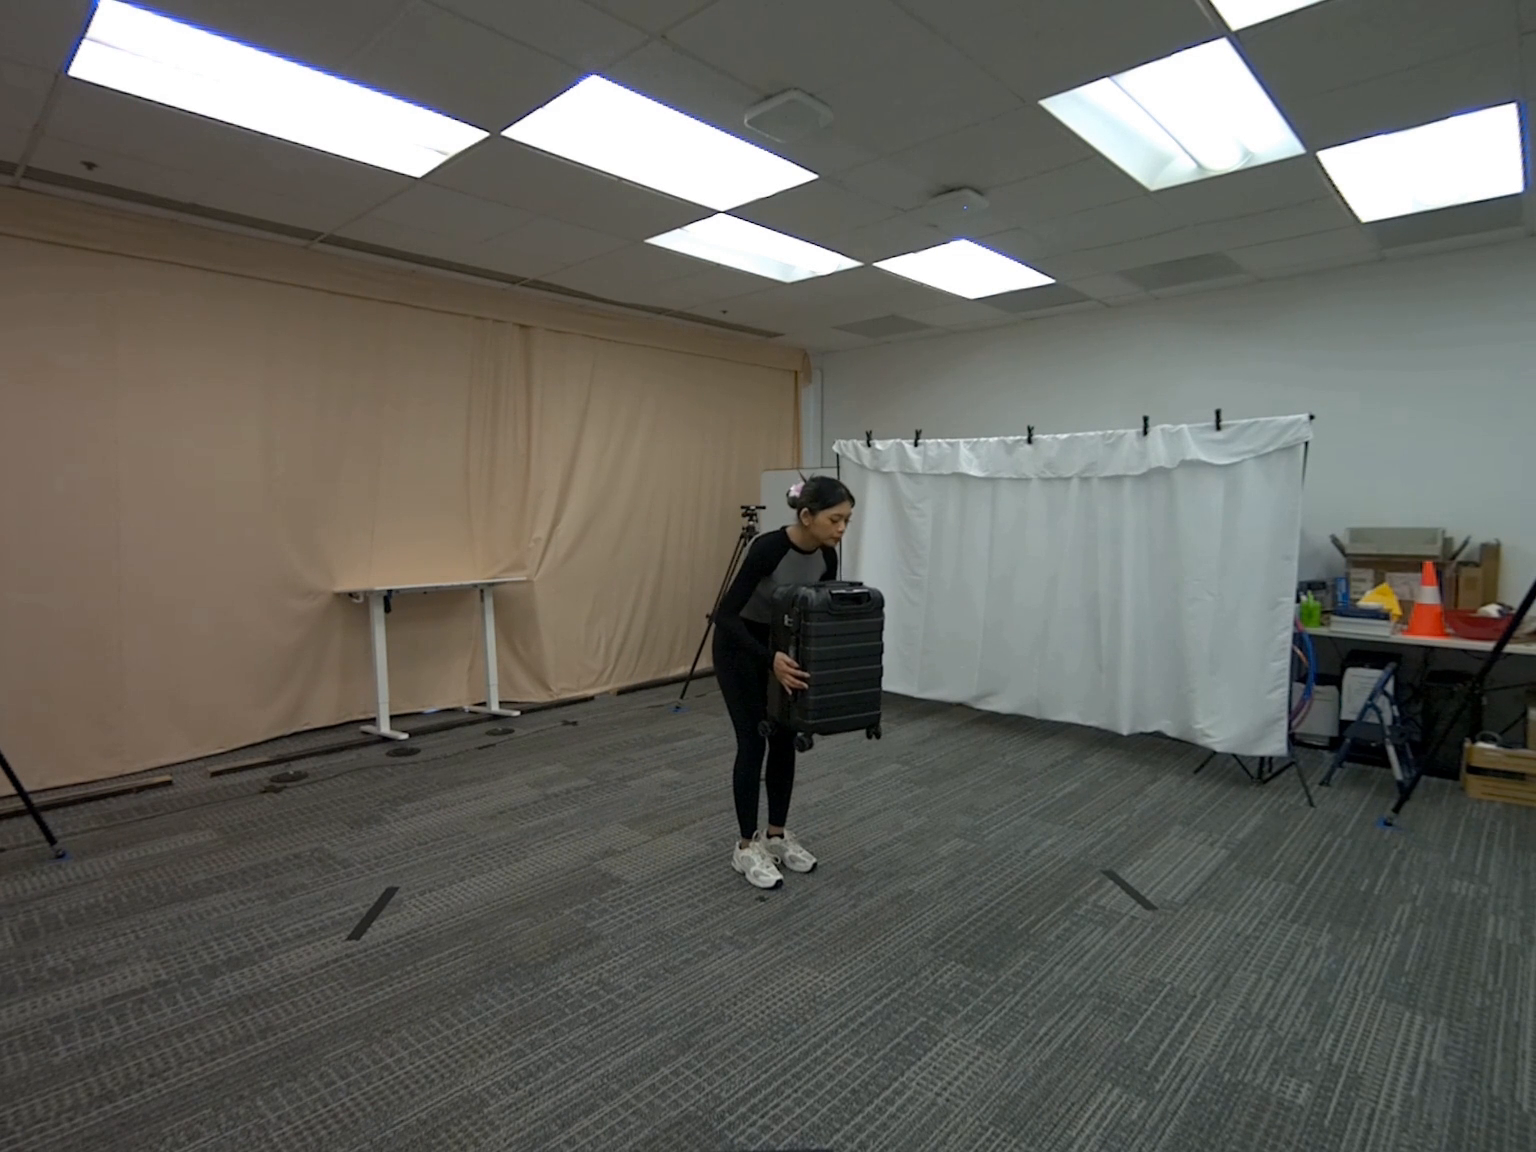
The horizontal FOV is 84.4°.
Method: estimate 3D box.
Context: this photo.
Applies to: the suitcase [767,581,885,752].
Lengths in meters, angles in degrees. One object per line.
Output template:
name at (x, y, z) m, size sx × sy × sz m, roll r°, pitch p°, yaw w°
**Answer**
suitcase at (0.208, 0.290, 2.903) m, size 0.364 × 0.548 × 0.256 m, roll -1°, pitch 6°, yaw -34°
